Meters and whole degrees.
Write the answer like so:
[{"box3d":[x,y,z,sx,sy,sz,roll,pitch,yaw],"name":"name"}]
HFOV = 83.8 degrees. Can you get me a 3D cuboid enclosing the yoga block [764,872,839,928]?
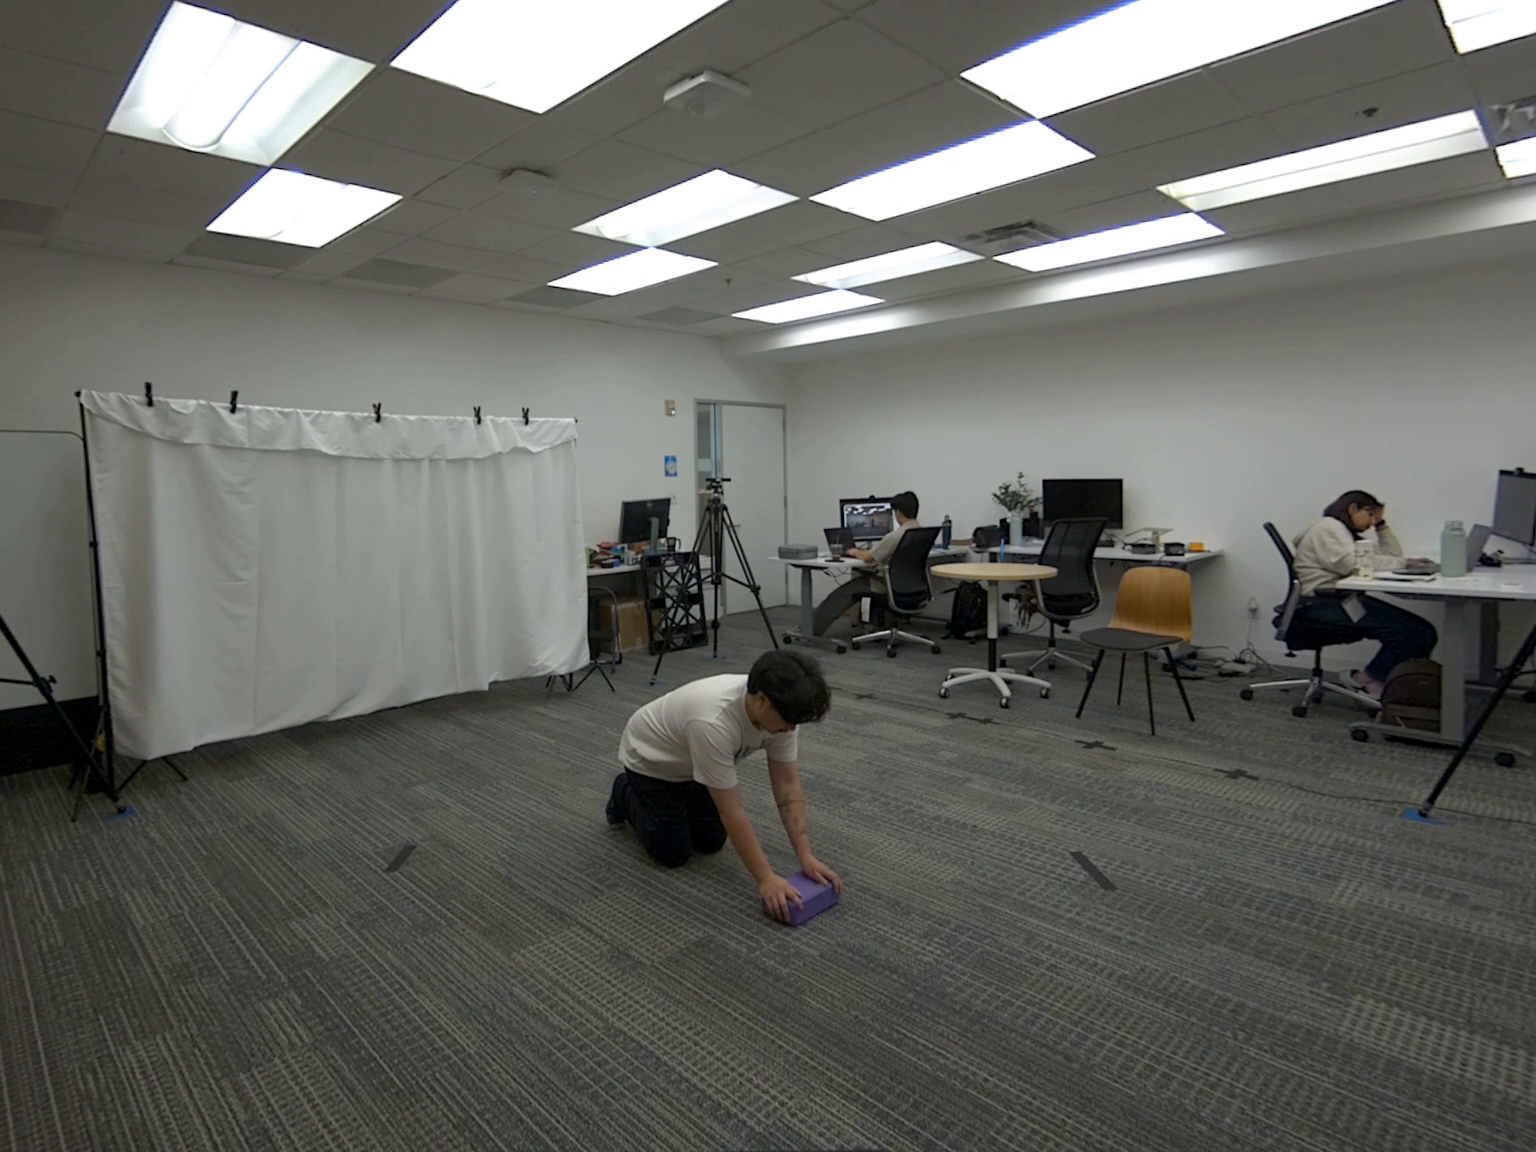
[{"box3d":[0.109,1.039,2.778,0.154,0.076,0.223,7,11,42],"name":"yoga block"}]
